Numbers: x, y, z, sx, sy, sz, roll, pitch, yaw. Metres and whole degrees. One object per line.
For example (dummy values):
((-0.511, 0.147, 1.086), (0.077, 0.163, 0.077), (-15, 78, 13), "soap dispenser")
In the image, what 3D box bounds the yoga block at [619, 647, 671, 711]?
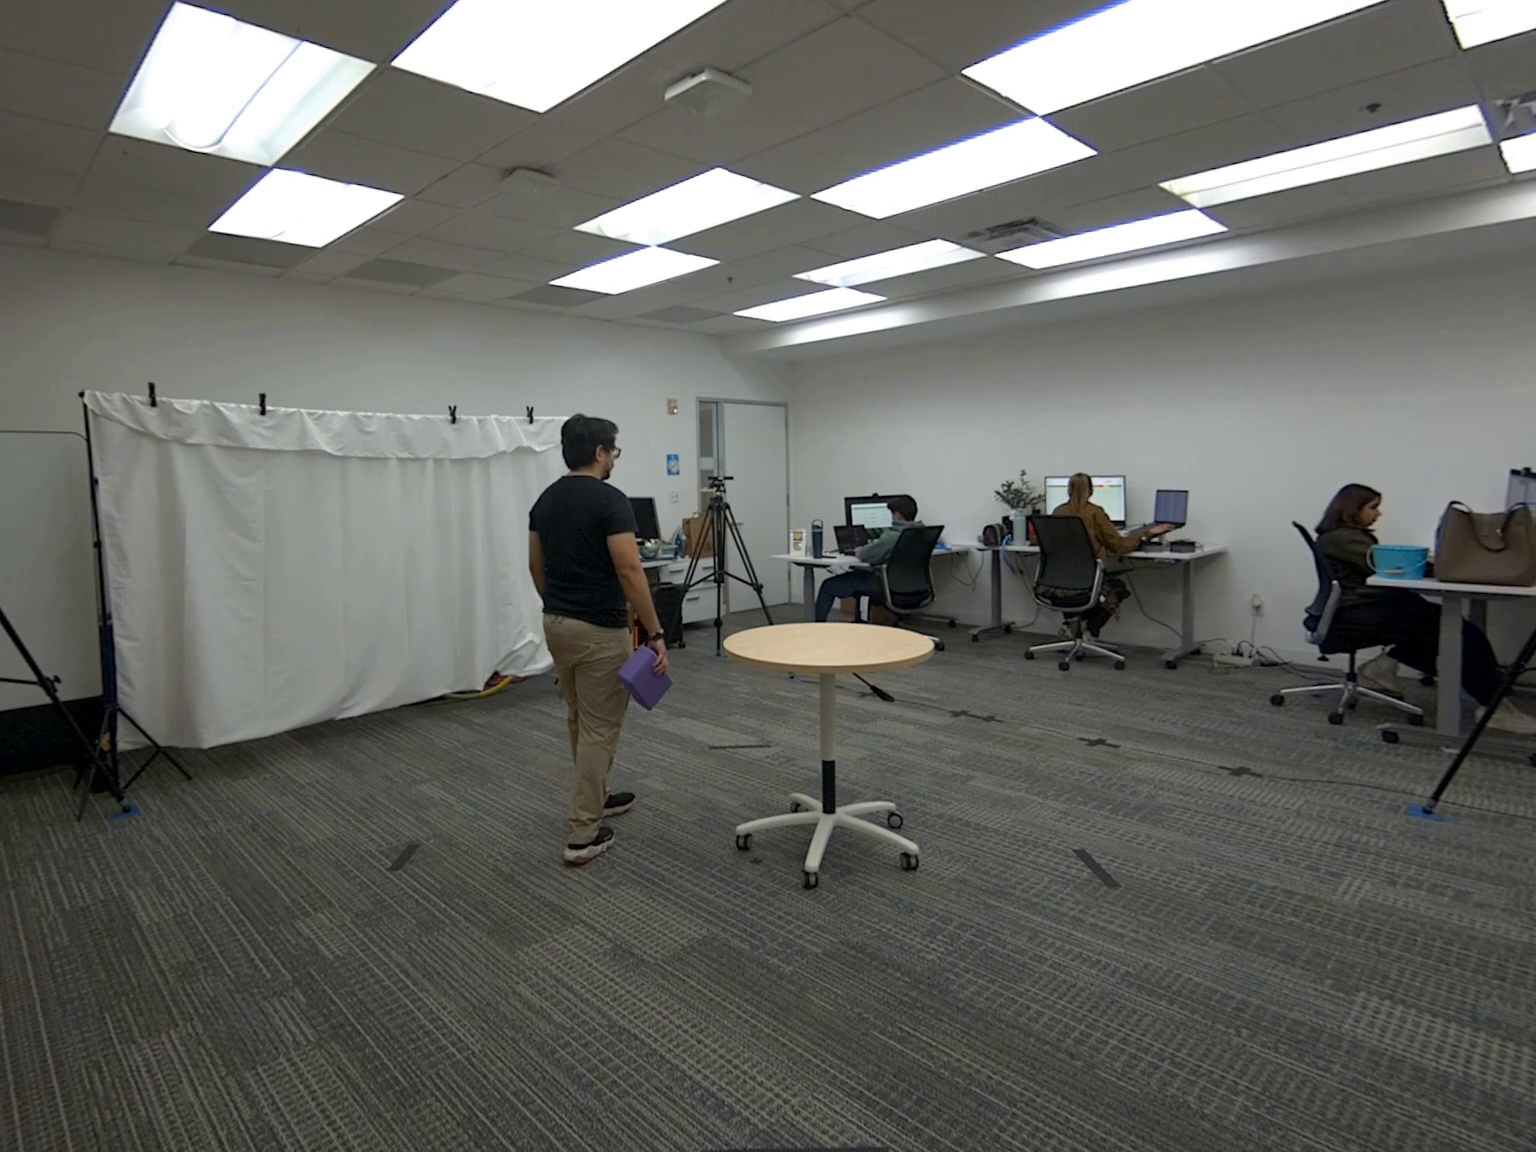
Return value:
((-0.452, 0.371, 3.175), (0.079, 0.221, 0.149), (24, 62, 33), "yoga block")
